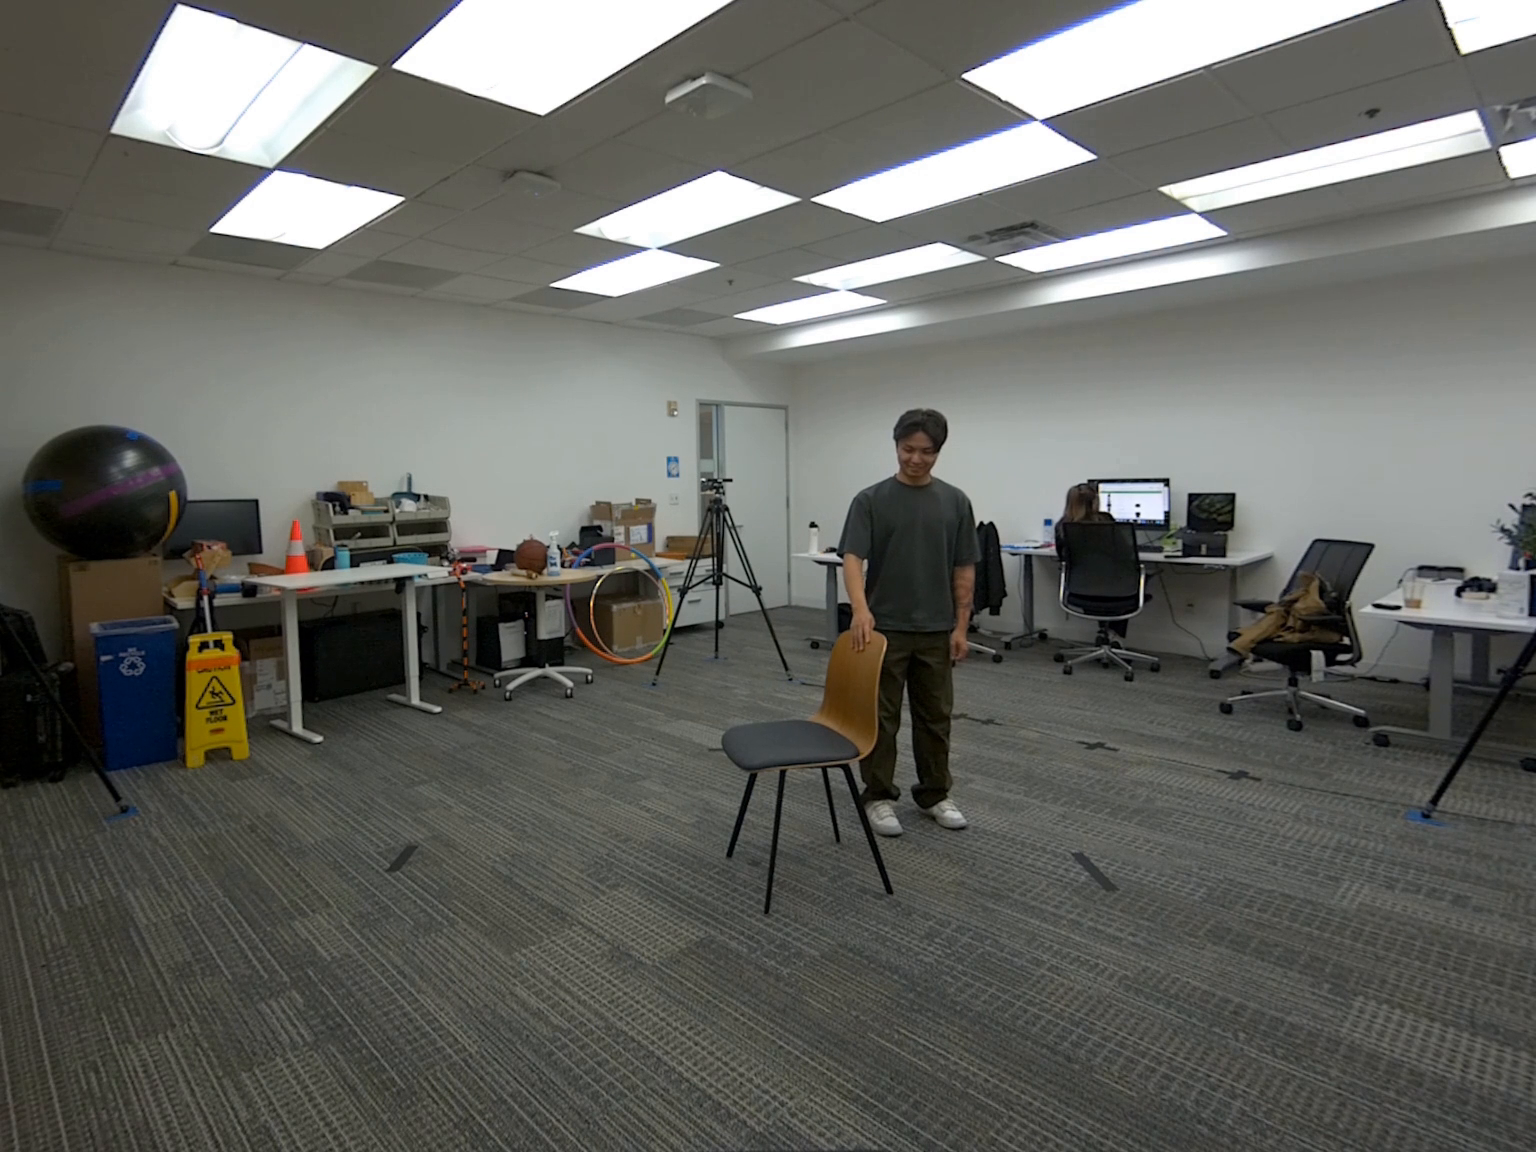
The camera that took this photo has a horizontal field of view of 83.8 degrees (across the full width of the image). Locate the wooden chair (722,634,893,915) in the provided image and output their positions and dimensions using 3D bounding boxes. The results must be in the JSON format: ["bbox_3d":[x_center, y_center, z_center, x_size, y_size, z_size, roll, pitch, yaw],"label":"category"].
[{"bbox_3d":[0.121,0.629,2.975,0.514,0.875,0.487,2,4,-18],"label":"wooden chair"}]
